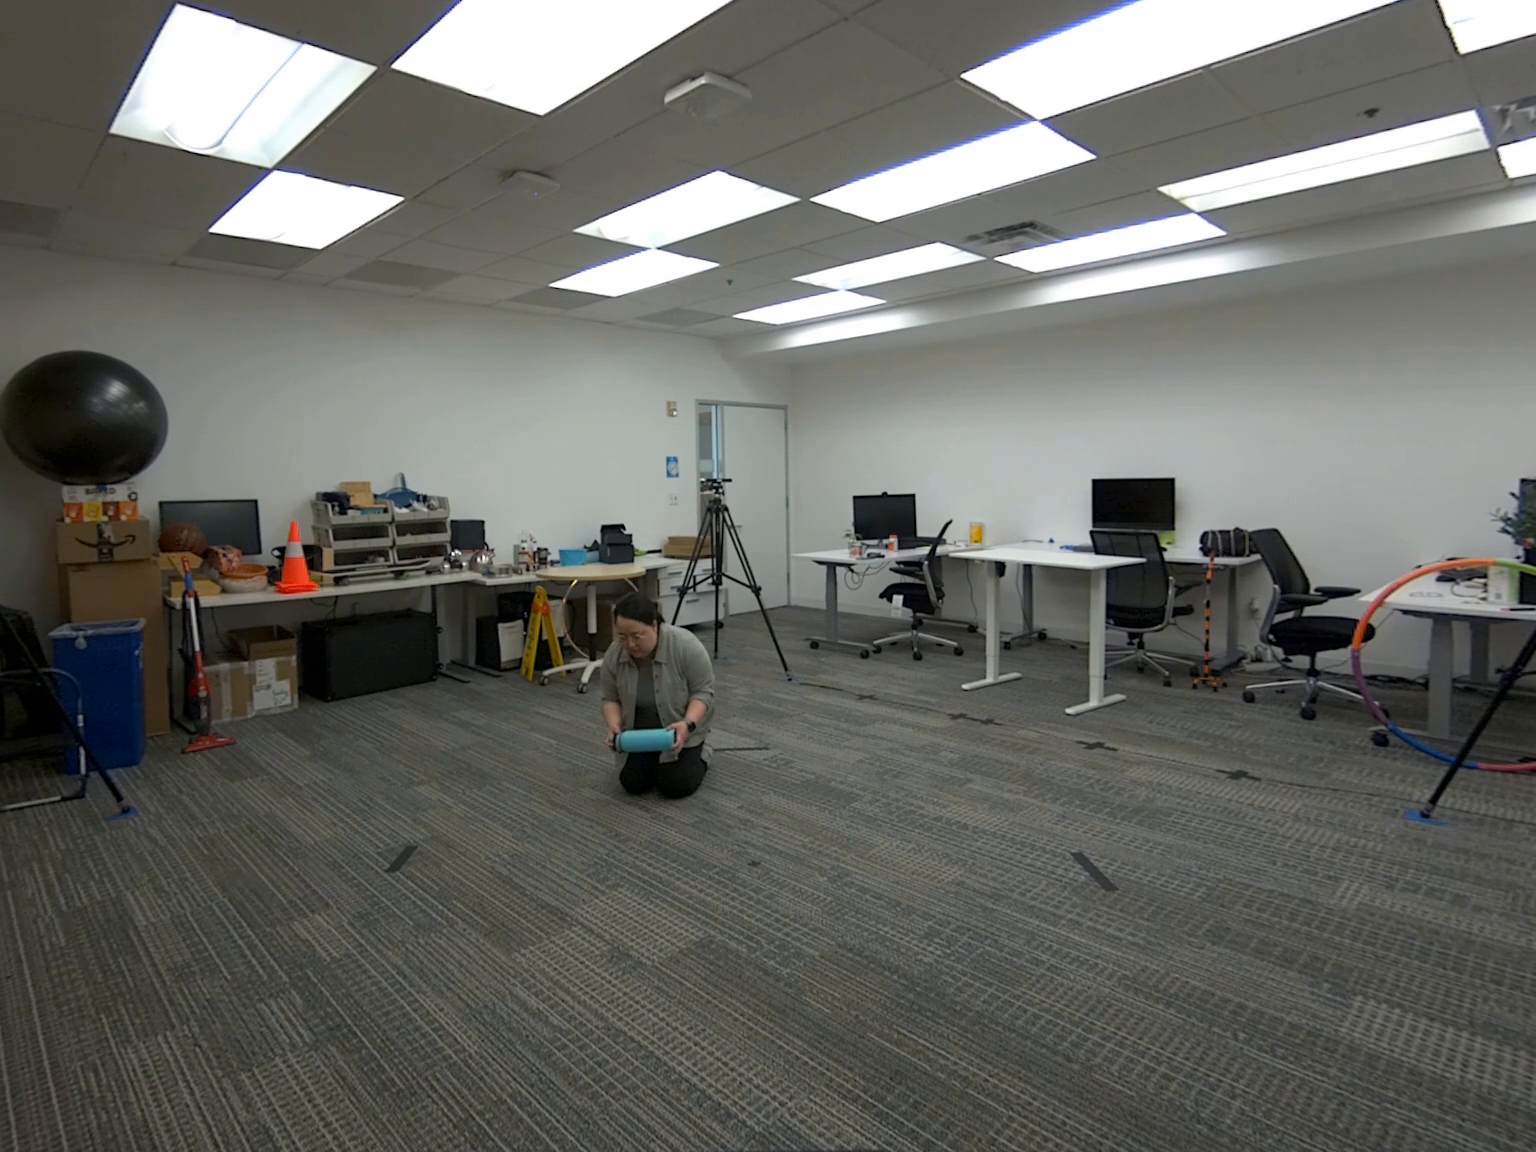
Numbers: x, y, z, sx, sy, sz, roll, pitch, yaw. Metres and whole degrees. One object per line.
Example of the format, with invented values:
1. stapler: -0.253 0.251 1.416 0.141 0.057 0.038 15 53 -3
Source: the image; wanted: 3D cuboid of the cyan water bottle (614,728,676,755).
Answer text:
1. cyan water bottle: -0.542 0.687 3.602 0.286 0.092 0.092 -4 4 9
